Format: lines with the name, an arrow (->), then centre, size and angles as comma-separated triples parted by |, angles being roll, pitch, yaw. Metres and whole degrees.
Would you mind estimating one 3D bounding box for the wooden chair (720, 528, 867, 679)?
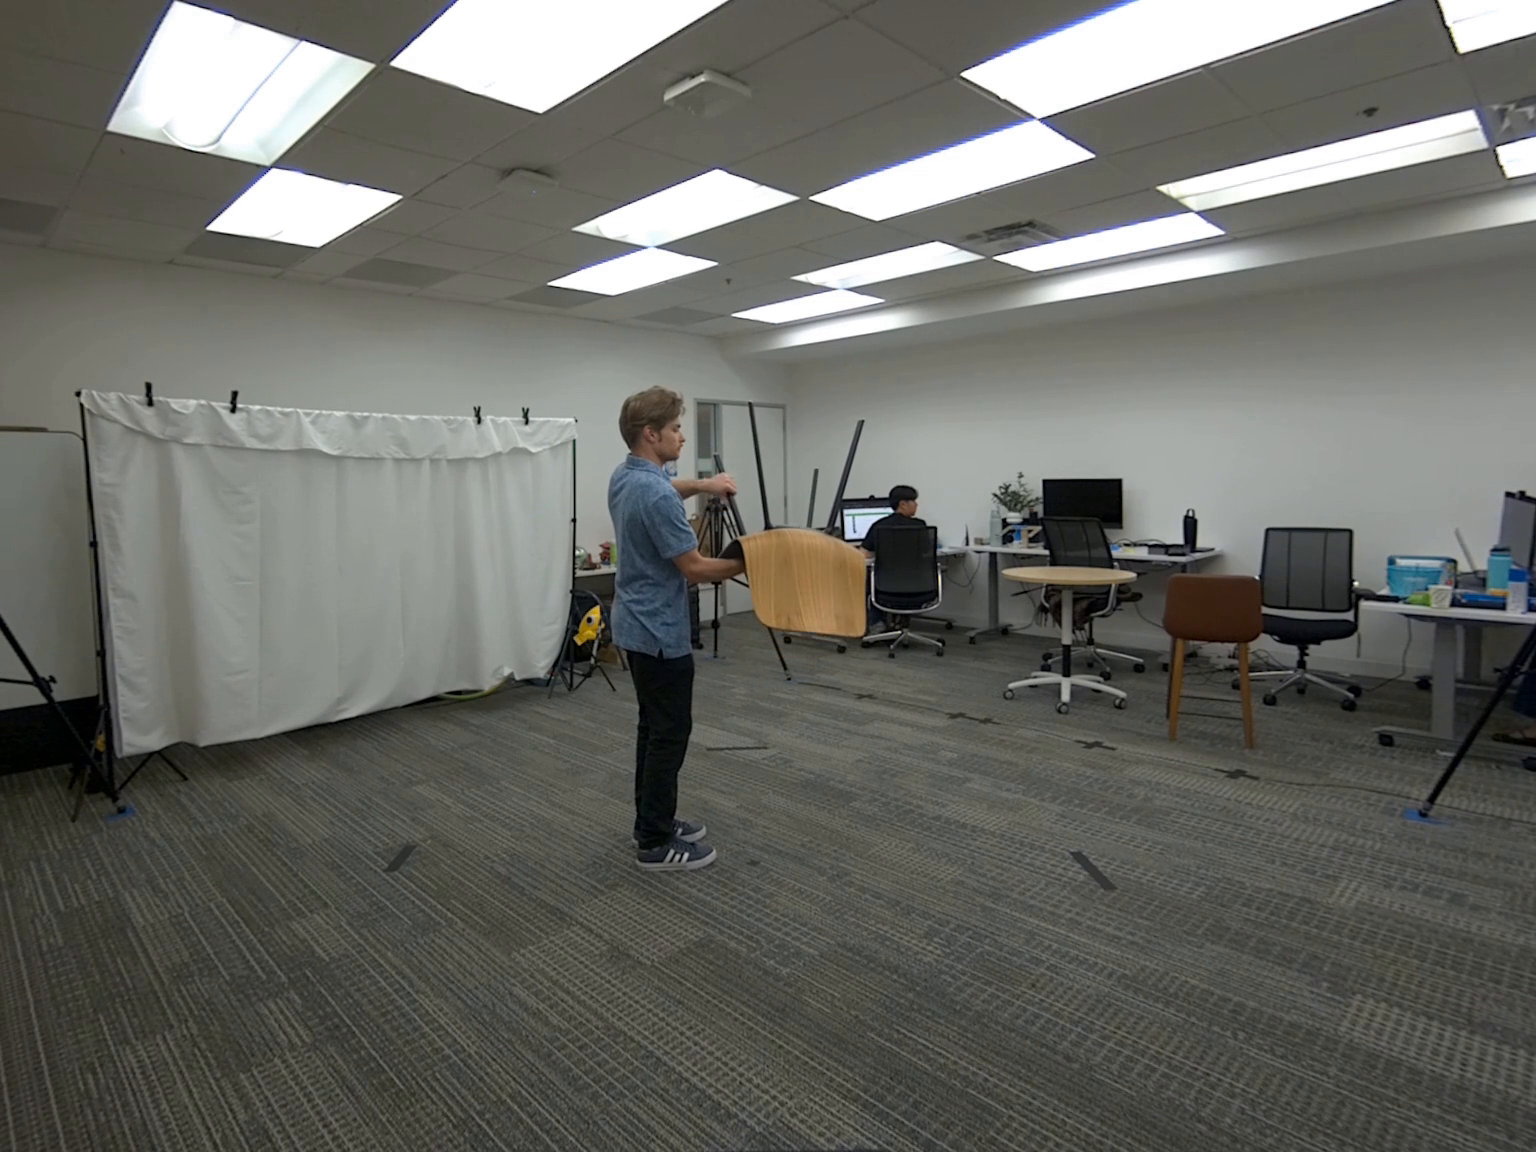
wooden chair -> 0.074, -0.118, 3.145 | 0.470, 0.896, 0.521 | 6, -25, -17
